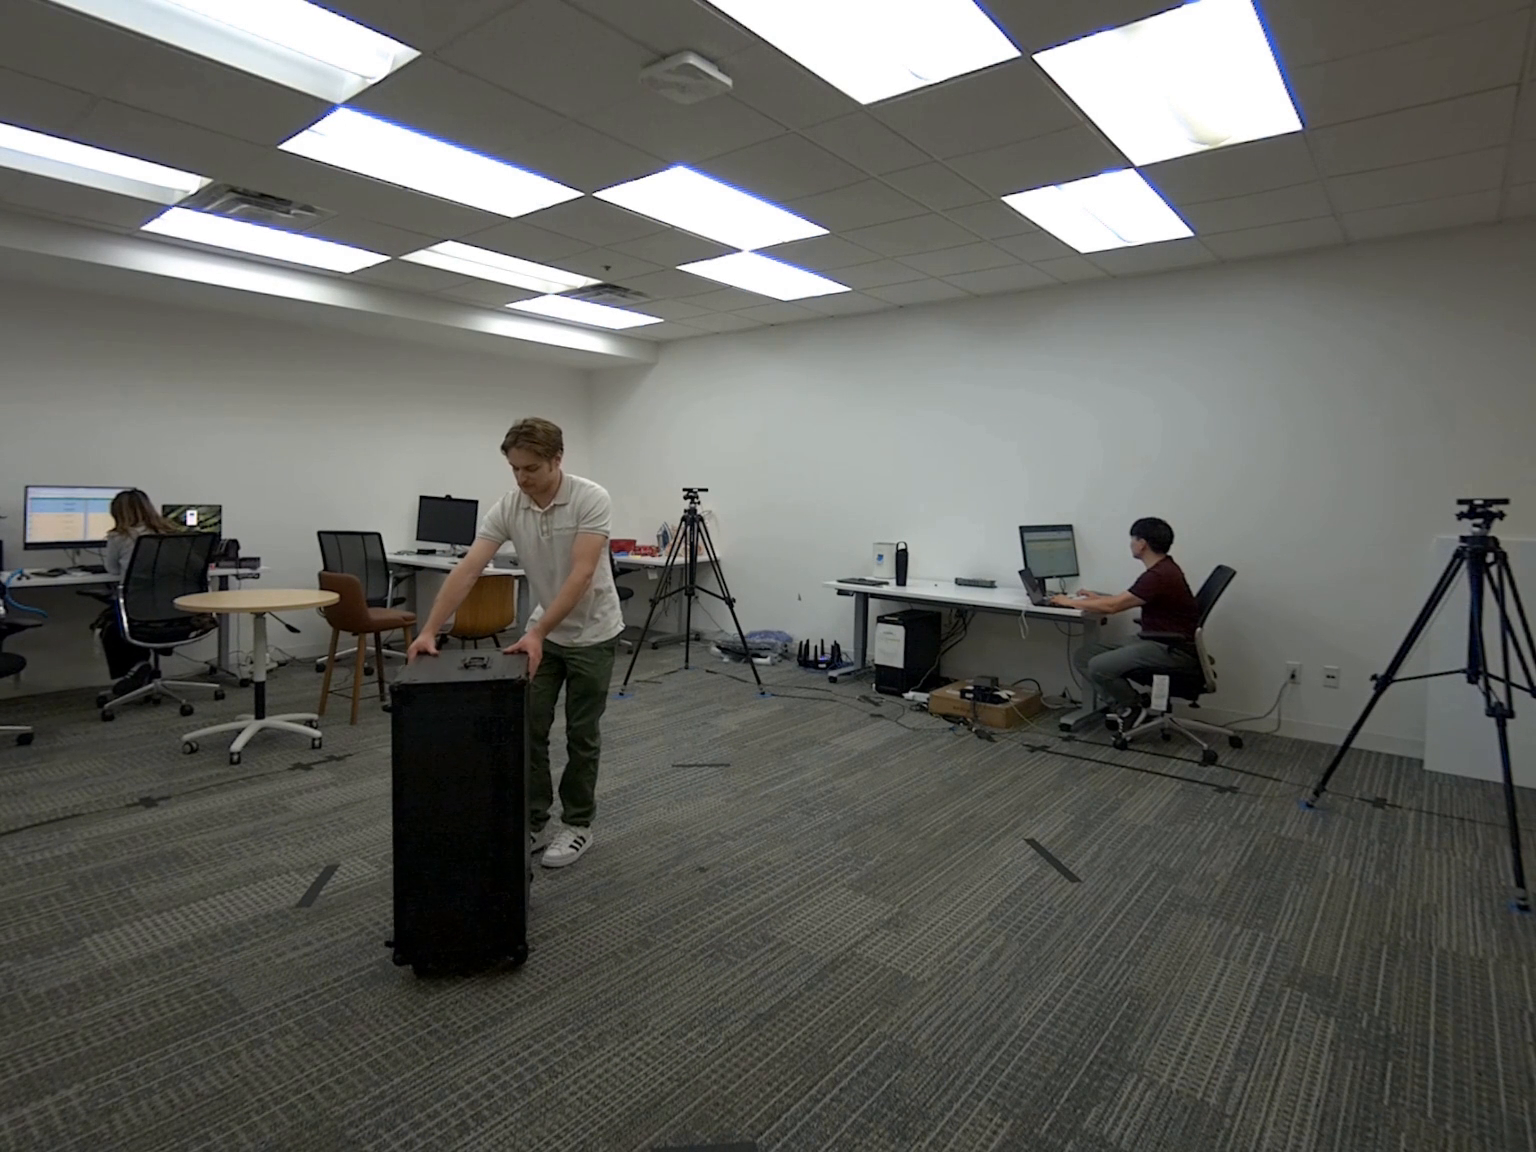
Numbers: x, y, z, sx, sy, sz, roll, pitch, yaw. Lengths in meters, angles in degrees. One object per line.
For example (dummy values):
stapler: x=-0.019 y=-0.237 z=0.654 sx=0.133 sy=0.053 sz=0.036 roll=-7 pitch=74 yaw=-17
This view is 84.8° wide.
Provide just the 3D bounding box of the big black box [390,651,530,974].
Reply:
big black box: x=-0.917 y=0.691 z=2.566 sx=0.380 sy=0.866 sz=0.532 roll=0 pitch=3 yaw=-13
